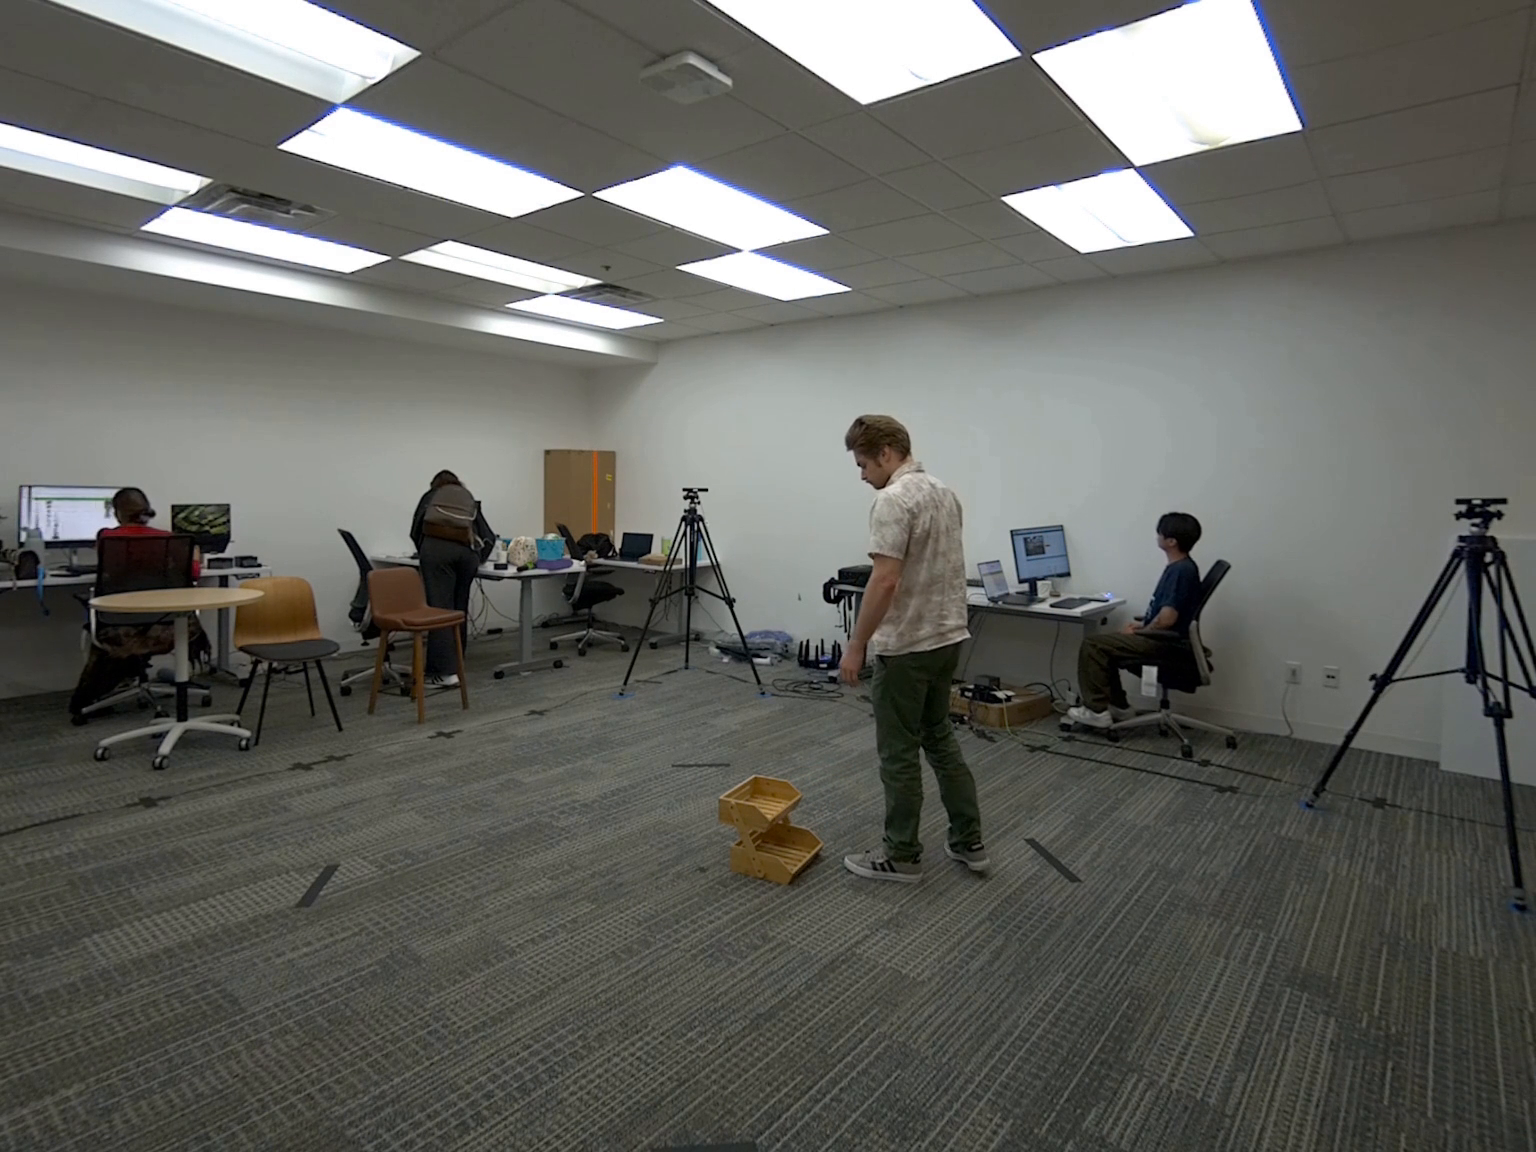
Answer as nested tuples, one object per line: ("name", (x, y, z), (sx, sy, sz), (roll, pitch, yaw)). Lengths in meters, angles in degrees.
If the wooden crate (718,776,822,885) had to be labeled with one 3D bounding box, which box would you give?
("wooden crate", (0.009, 0.934, 3.186), (0.310, 0.272, 0.317), (3, 4, 27))
